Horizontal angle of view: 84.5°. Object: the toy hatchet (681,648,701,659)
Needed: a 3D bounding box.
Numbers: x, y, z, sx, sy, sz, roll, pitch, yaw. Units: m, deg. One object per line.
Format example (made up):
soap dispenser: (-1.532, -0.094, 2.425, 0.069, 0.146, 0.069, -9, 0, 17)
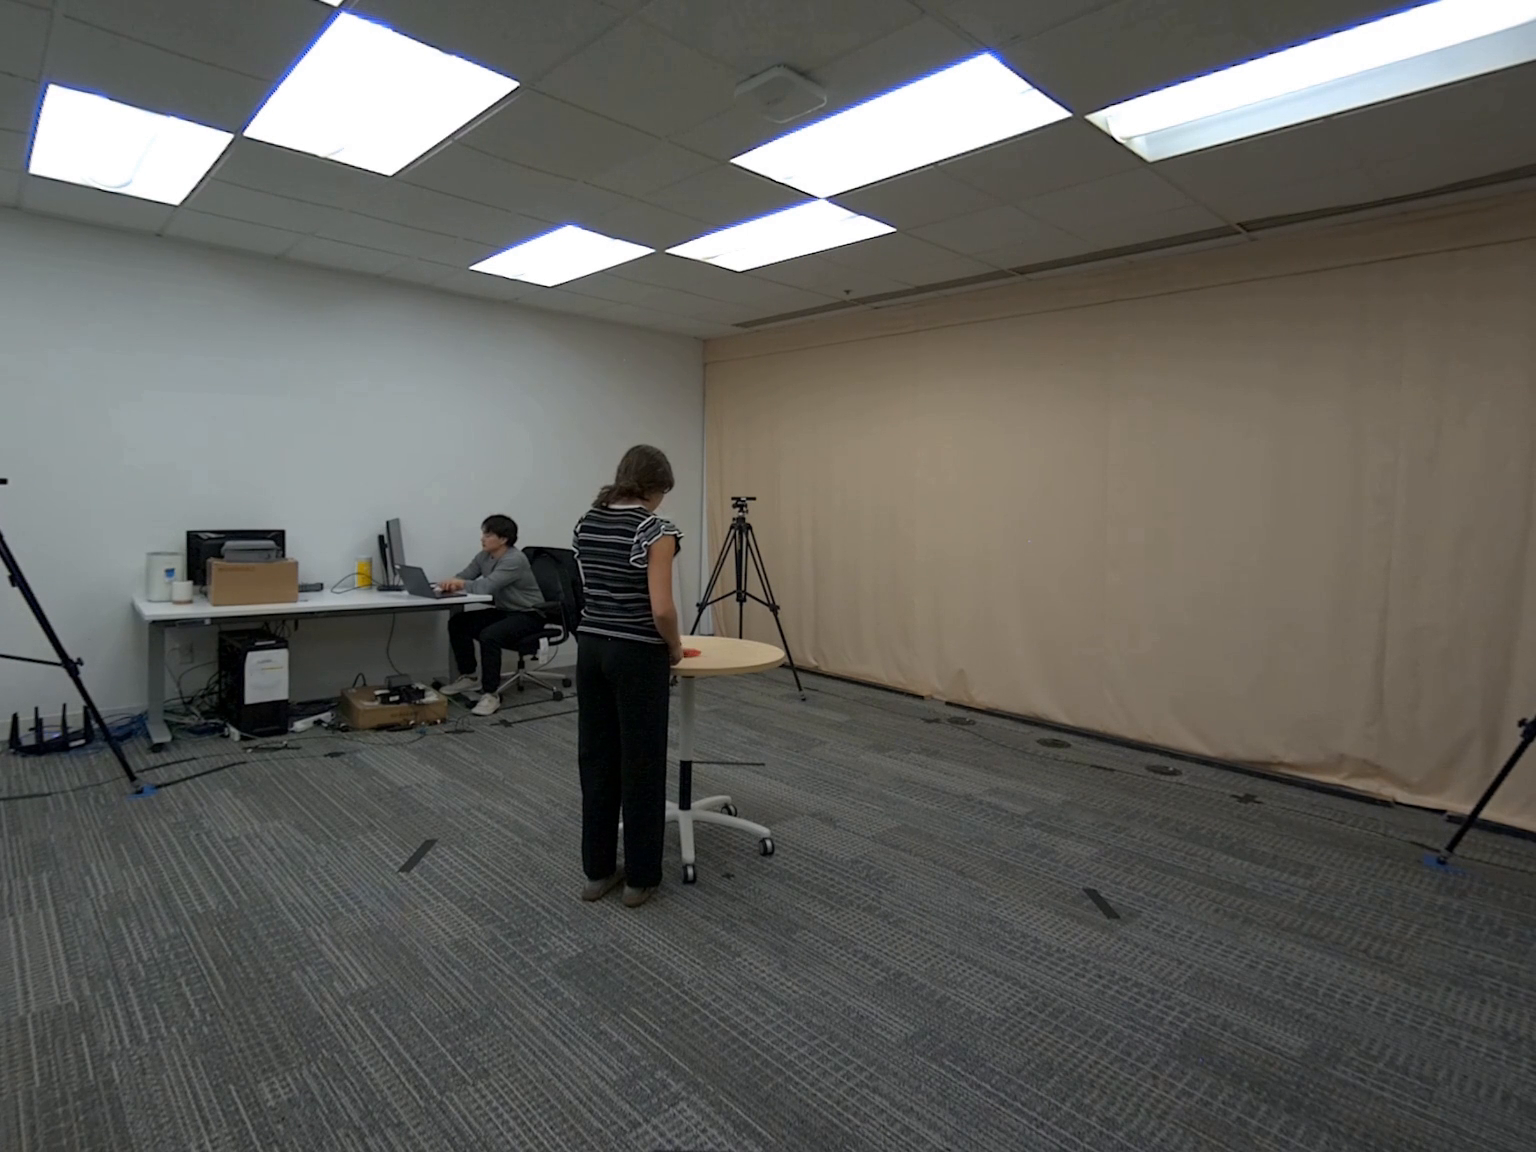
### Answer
toy hatchet: (-0.340, 0.288, 3.327, 0.131, 0.029, 0.270, 1, 5, 2)
